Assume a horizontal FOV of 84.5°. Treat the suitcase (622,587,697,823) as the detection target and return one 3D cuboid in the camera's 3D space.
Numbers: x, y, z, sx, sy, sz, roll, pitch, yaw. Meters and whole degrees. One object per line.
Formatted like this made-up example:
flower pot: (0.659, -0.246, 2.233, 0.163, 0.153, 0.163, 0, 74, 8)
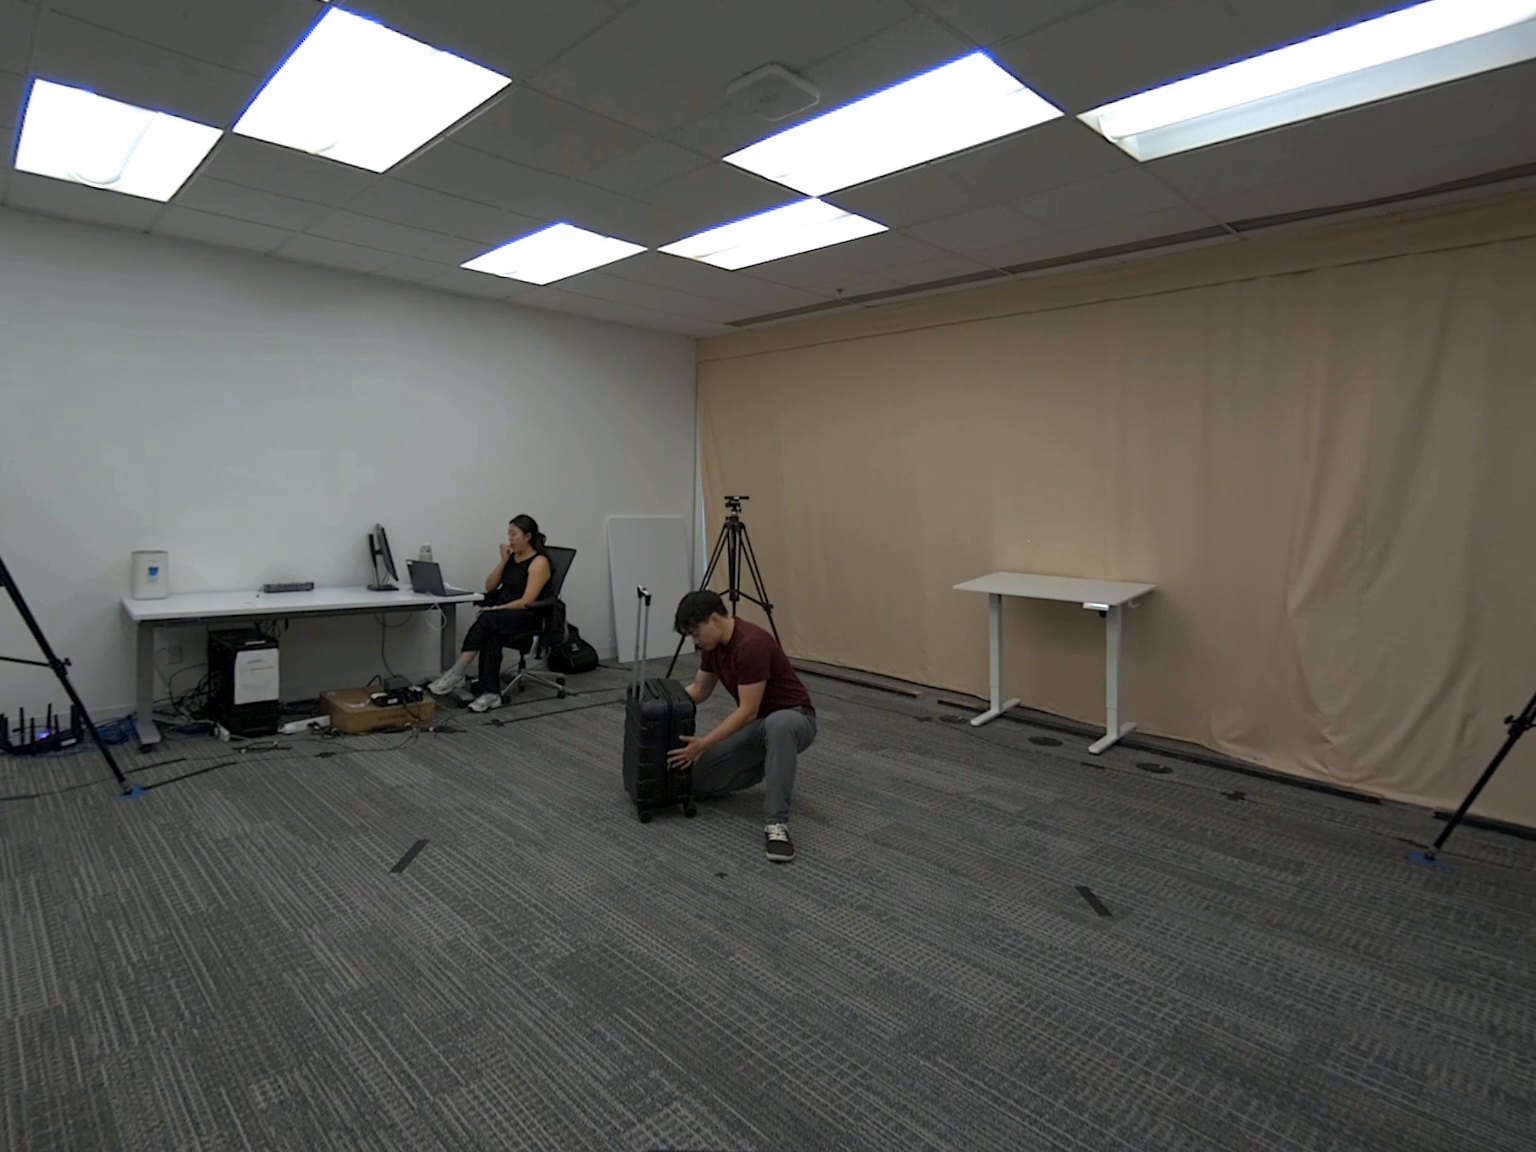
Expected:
suitcase: (-0.479, 0.547, 3.683, 0.253, 0.971, 0.392, 2, 12, -18)
